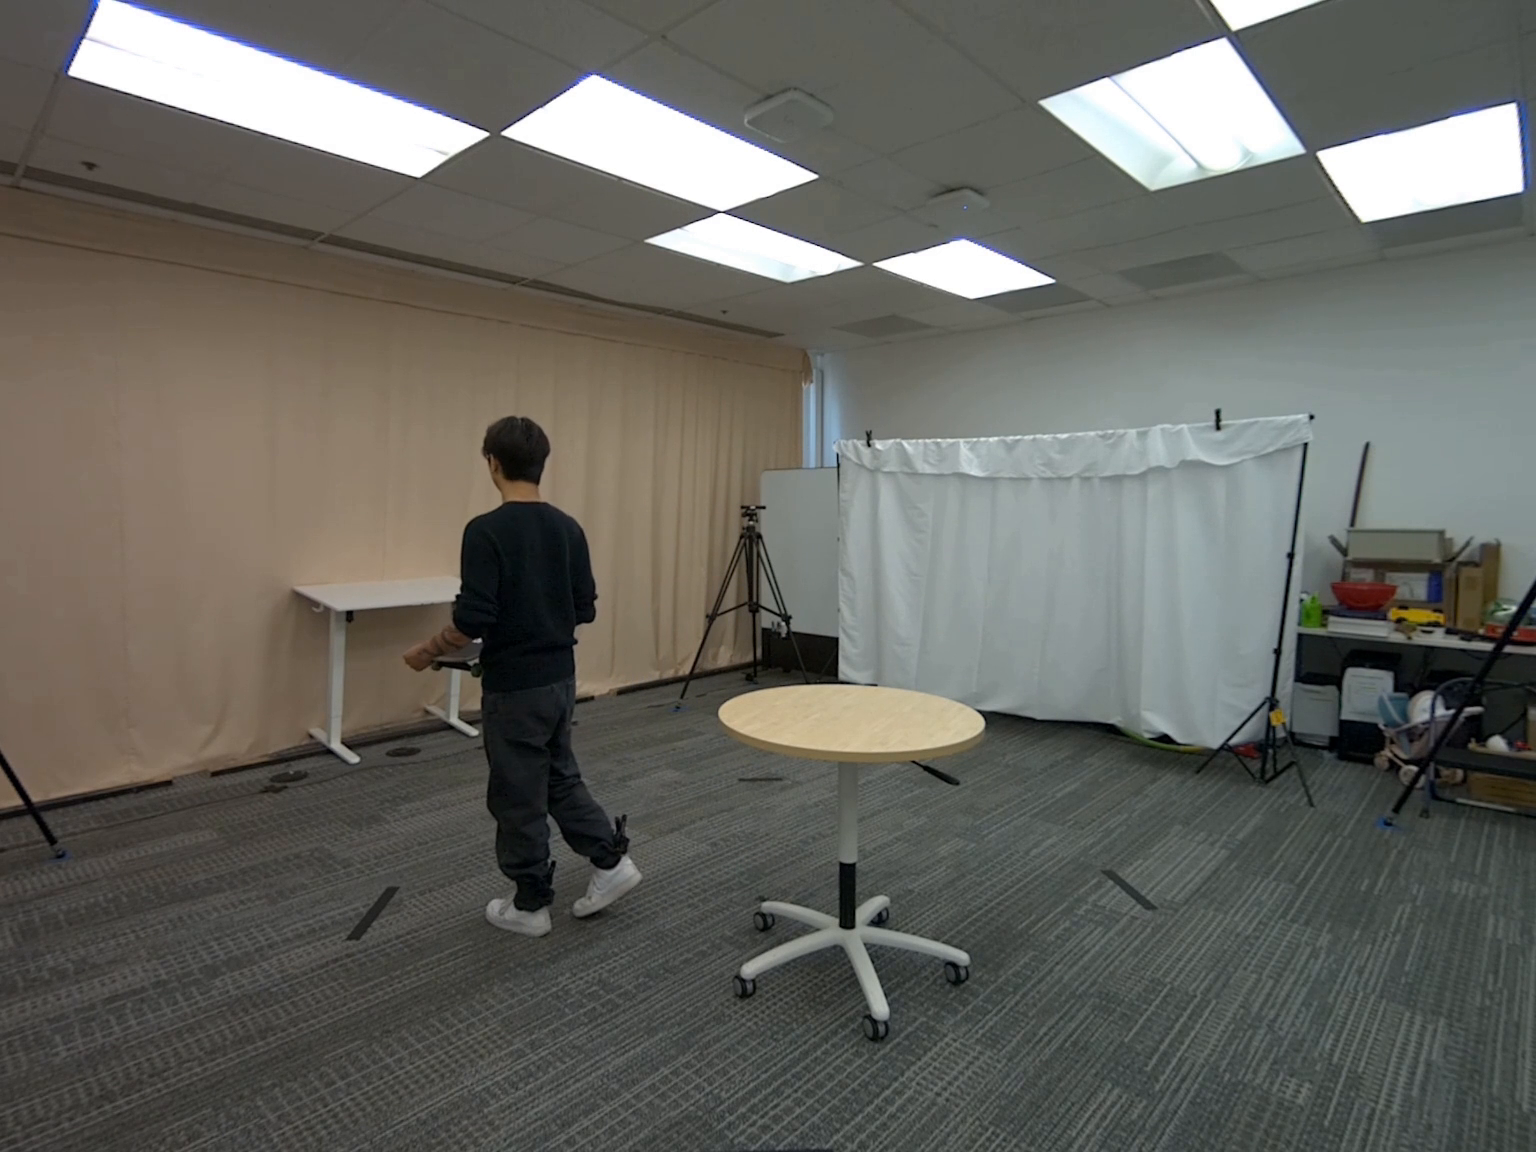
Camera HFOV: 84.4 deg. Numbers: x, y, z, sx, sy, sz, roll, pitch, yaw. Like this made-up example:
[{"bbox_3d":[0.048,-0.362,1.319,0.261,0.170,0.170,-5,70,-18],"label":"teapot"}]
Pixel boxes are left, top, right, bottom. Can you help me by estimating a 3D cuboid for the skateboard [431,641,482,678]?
[{"bbox_3d":[-1.016,0.260,2.995,0.196,0.110,0.779,5,8,8],"label":"skateboard"}]
